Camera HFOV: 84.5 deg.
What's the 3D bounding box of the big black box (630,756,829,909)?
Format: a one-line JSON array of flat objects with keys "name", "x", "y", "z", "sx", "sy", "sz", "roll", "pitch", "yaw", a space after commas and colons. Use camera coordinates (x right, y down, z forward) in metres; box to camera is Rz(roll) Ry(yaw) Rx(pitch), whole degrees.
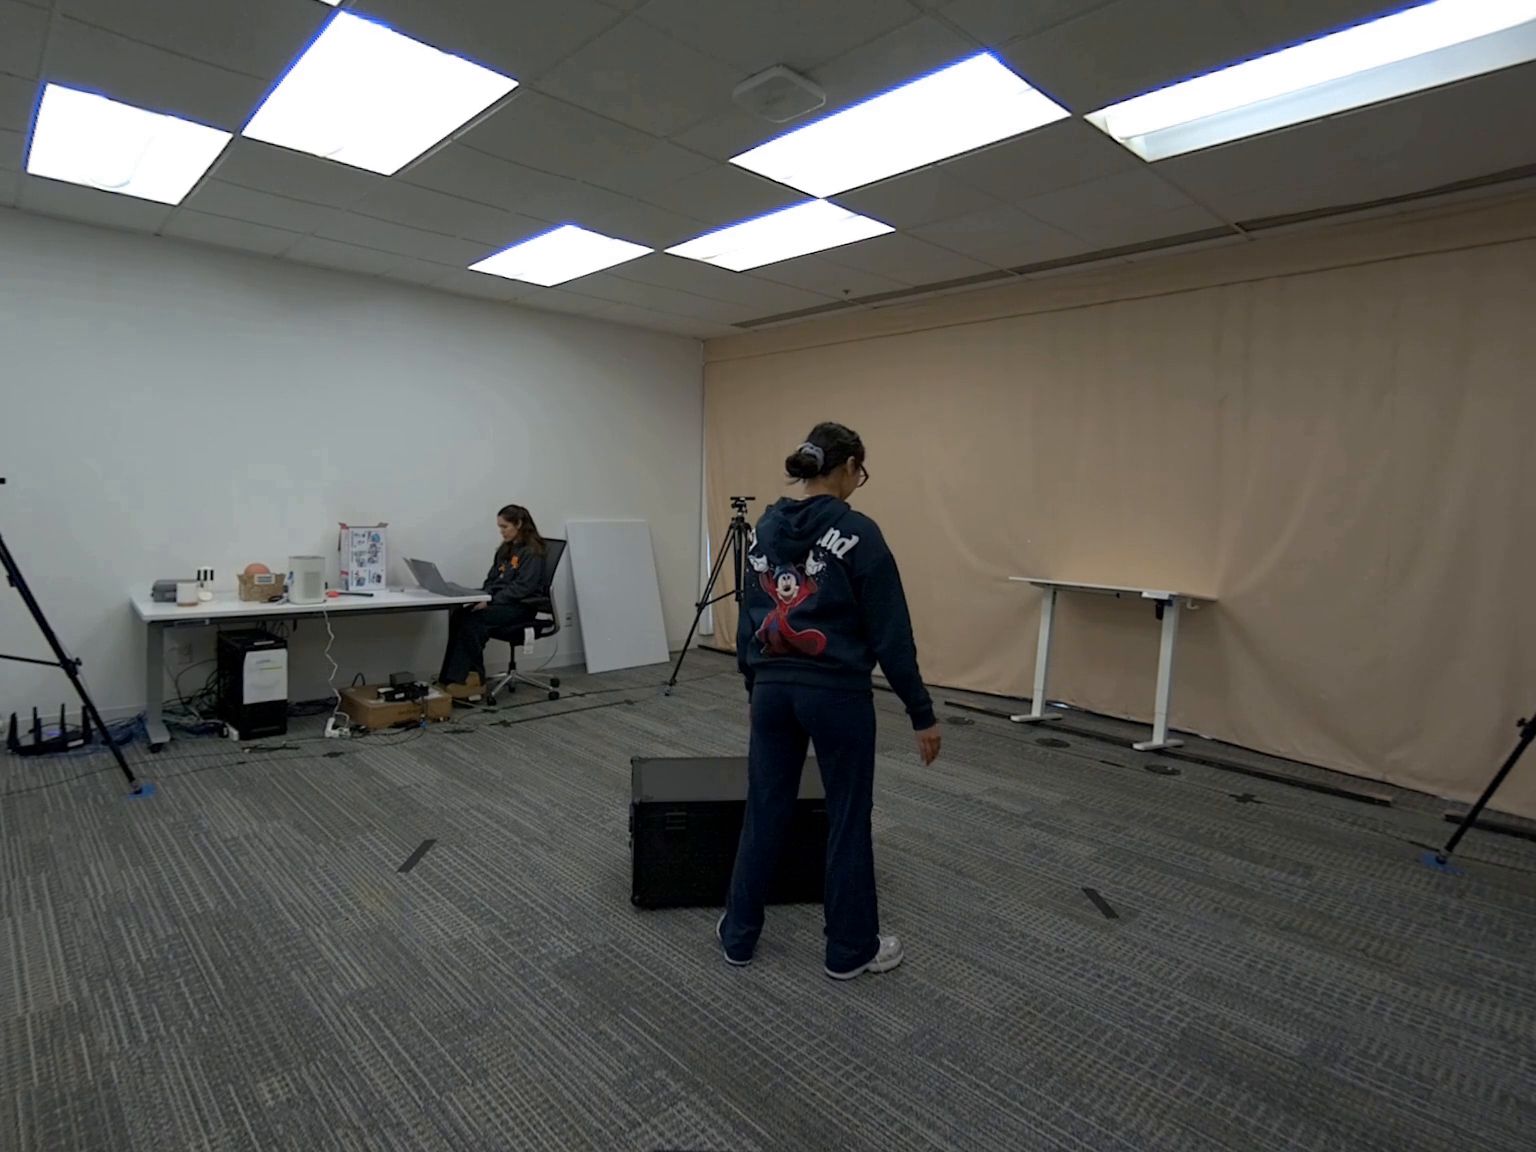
[{"name": "big black box", "x": -0.079, "y": 0.919, "z": 3.090, "sx": 0.855, "sy": 0.395, "sz": 0.527, "roll": 0, "pitch": 5, "yaw": -9}]
